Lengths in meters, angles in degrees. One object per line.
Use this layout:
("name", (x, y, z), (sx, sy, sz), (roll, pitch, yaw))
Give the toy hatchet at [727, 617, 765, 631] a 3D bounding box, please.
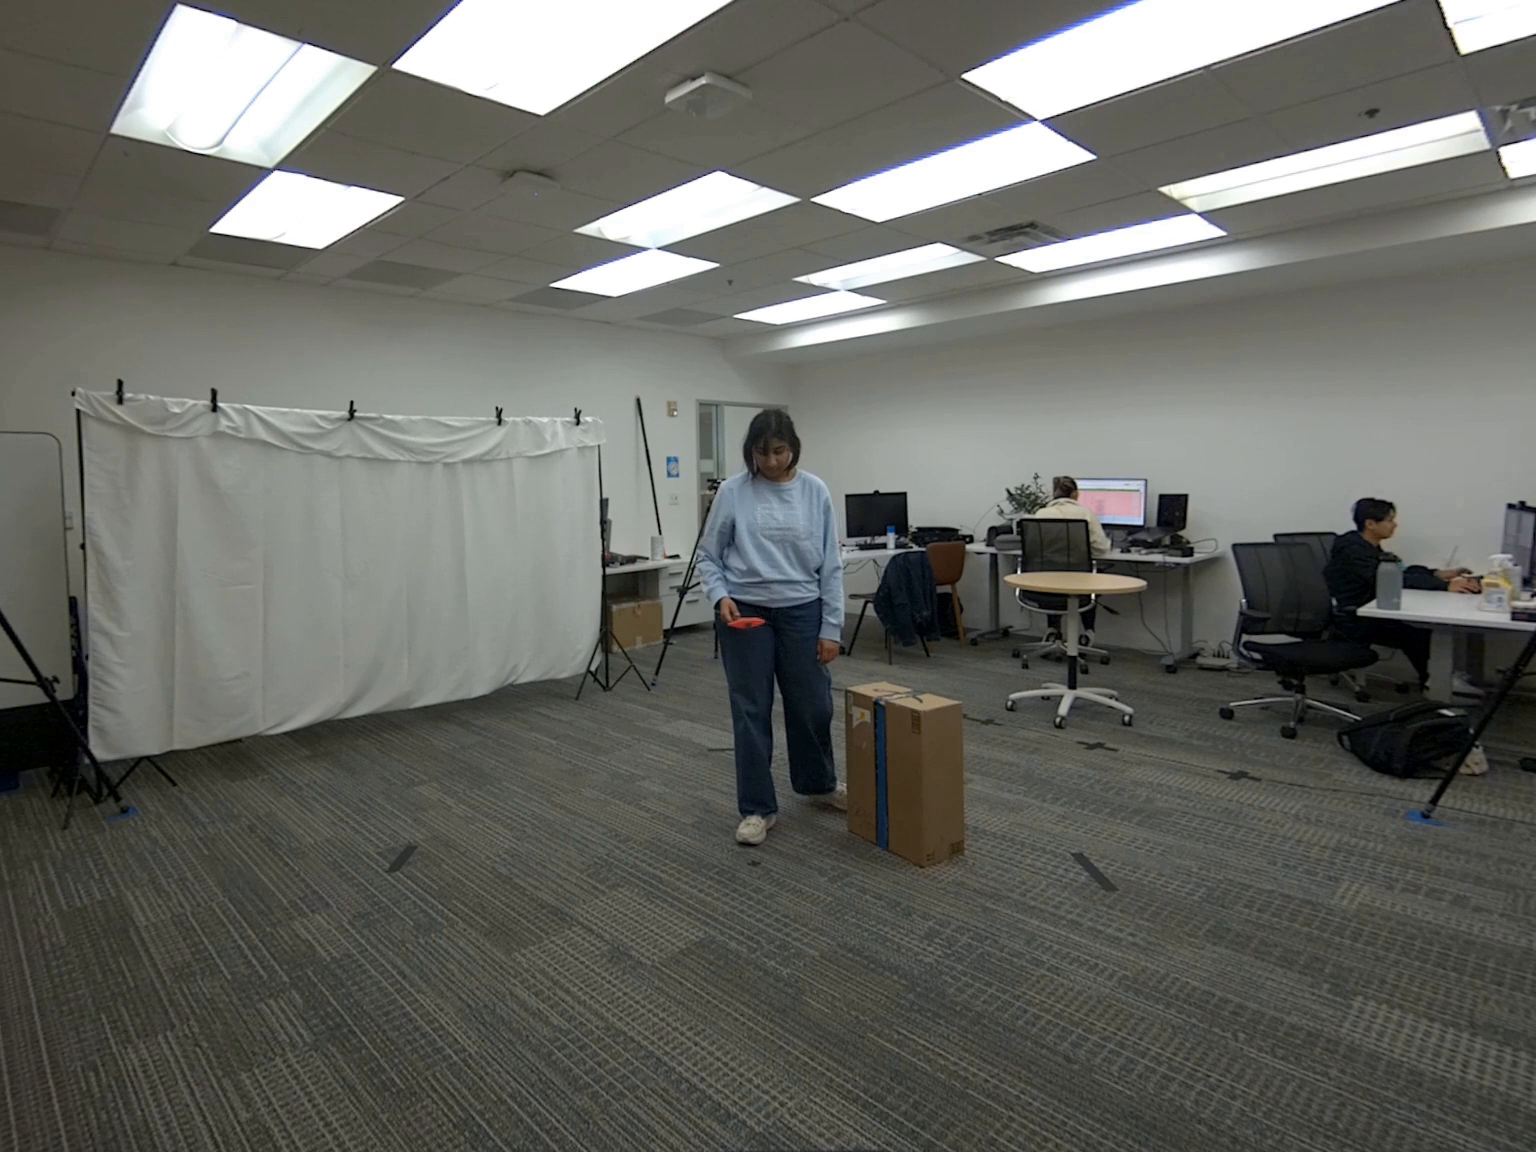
("toy hatchet", (-0.071, 0.163, 3.125), (0.131, 0.029, 0.270), (-10, 2, 1))
